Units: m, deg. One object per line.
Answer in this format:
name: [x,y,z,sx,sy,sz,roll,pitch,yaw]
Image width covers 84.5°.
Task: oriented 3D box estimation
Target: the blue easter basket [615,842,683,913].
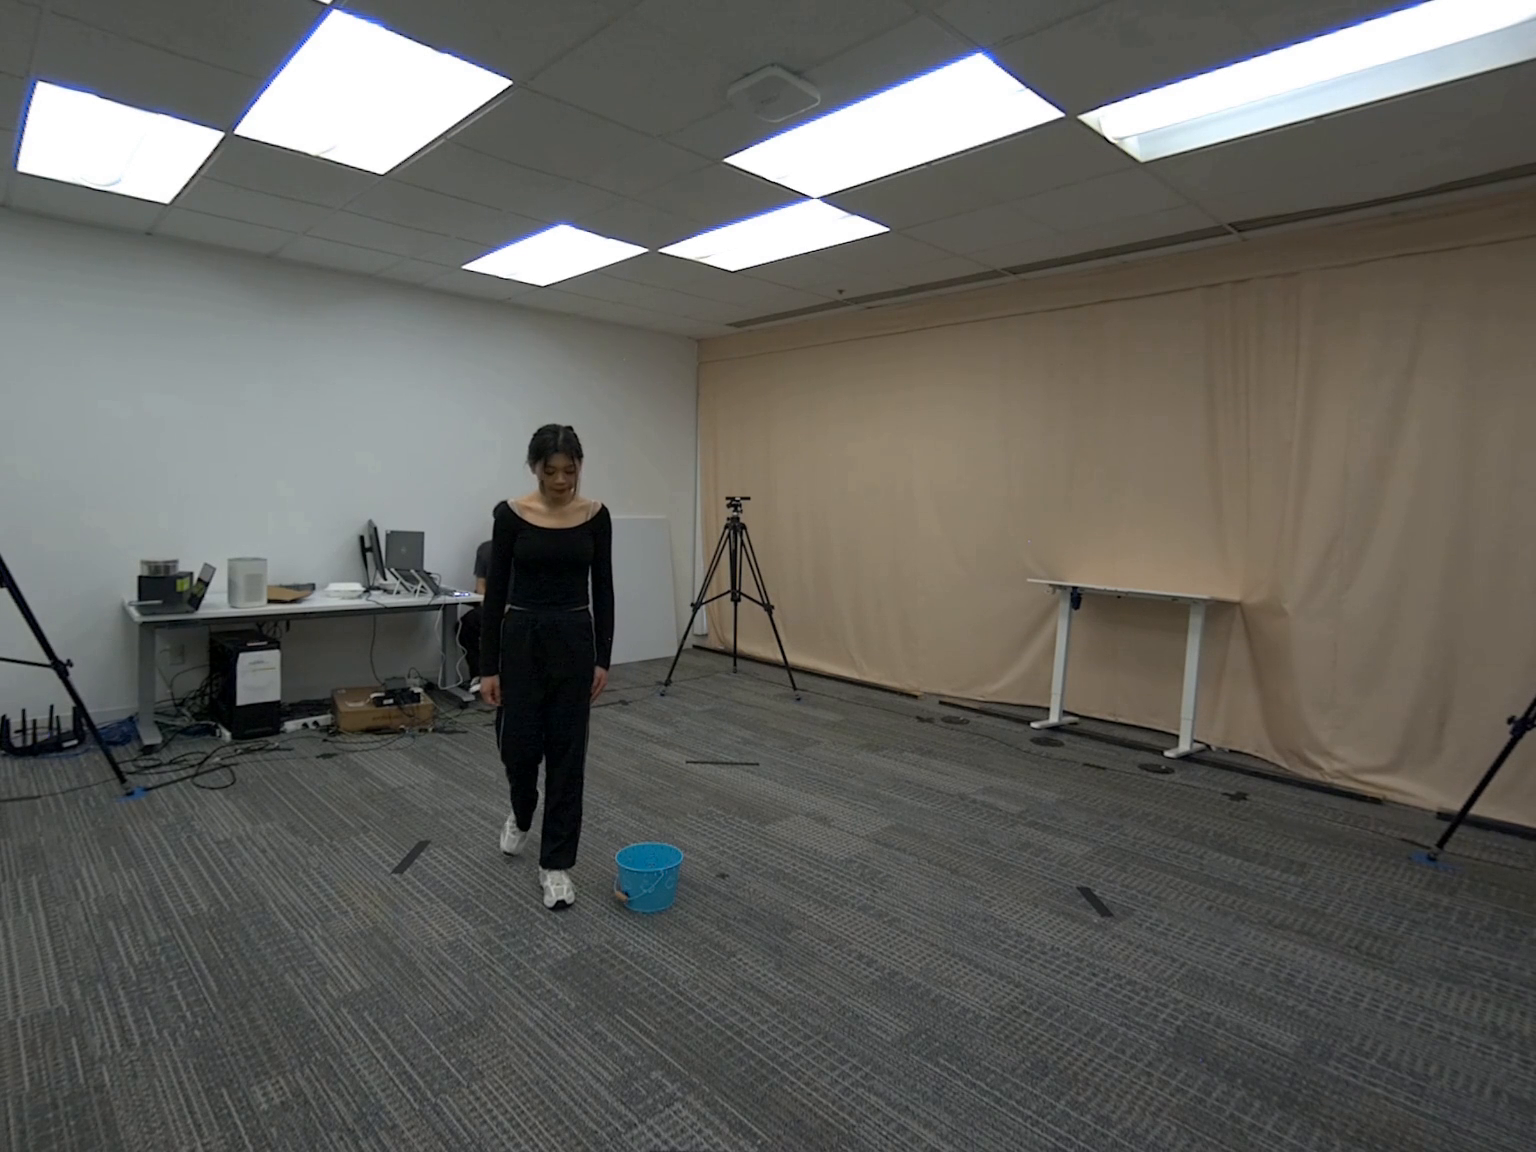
blue easter basket: [-0.424,1.041,2.906,0.243,0.155,0.244,1,5,-1]
